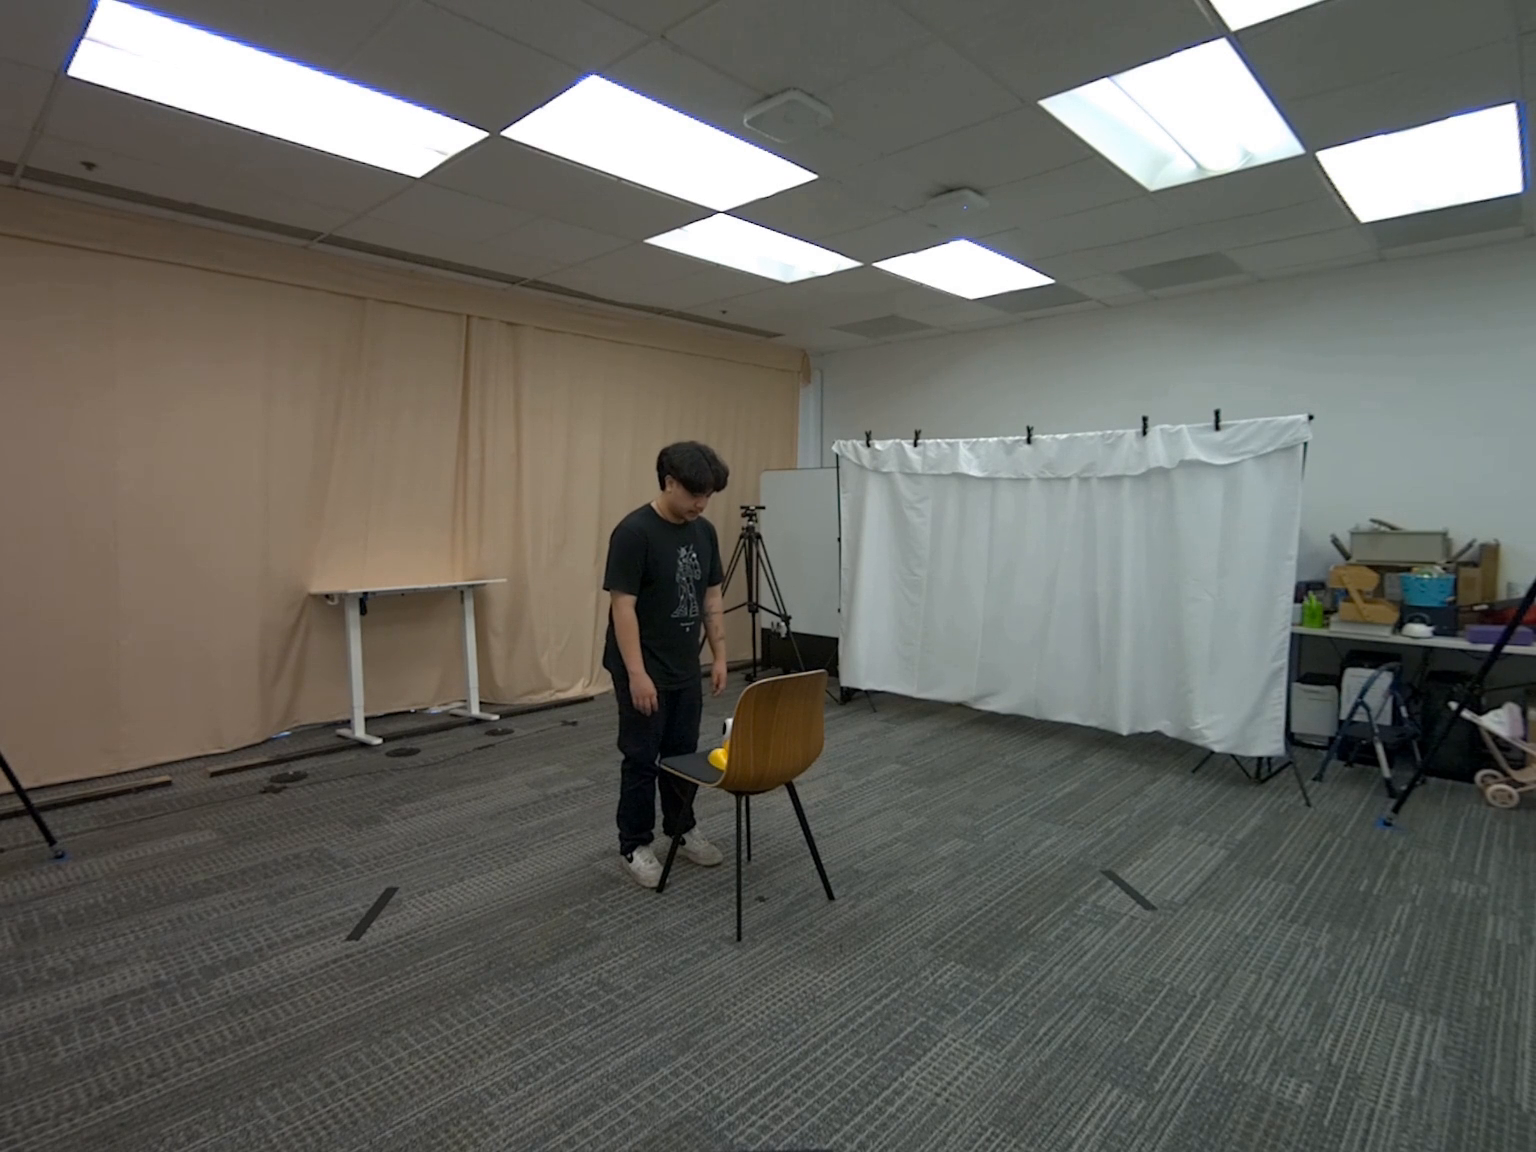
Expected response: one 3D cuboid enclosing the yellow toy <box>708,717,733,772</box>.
[{"bbox_3d":[-0.091,0.553,2.988,0.198,0.230,0.200,-4,10,-41],"label":"yellow toy"}]
